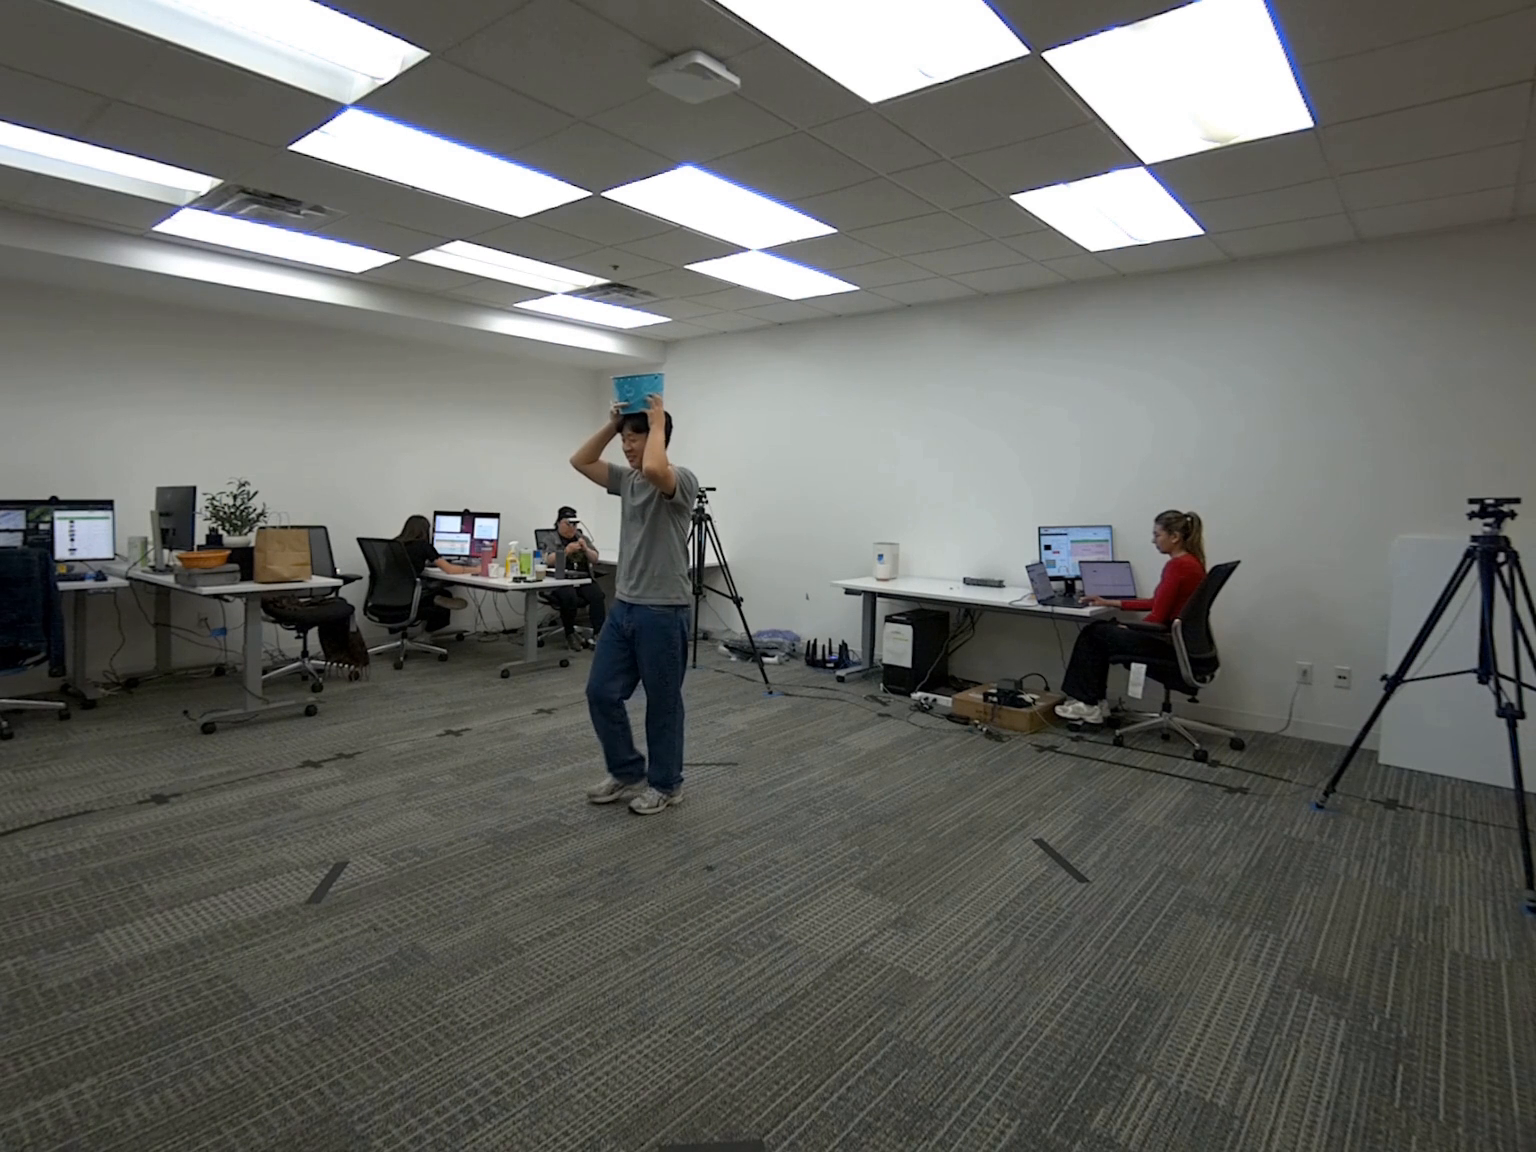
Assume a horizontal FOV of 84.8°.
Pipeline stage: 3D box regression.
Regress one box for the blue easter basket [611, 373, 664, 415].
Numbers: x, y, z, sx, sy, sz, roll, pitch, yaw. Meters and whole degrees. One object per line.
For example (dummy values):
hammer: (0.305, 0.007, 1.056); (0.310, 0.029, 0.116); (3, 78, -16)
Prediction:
blue easter basket: (-0.561, -0.763, 3.560); (0.243, 0.154, 0.246); (-5, 10, -1)
